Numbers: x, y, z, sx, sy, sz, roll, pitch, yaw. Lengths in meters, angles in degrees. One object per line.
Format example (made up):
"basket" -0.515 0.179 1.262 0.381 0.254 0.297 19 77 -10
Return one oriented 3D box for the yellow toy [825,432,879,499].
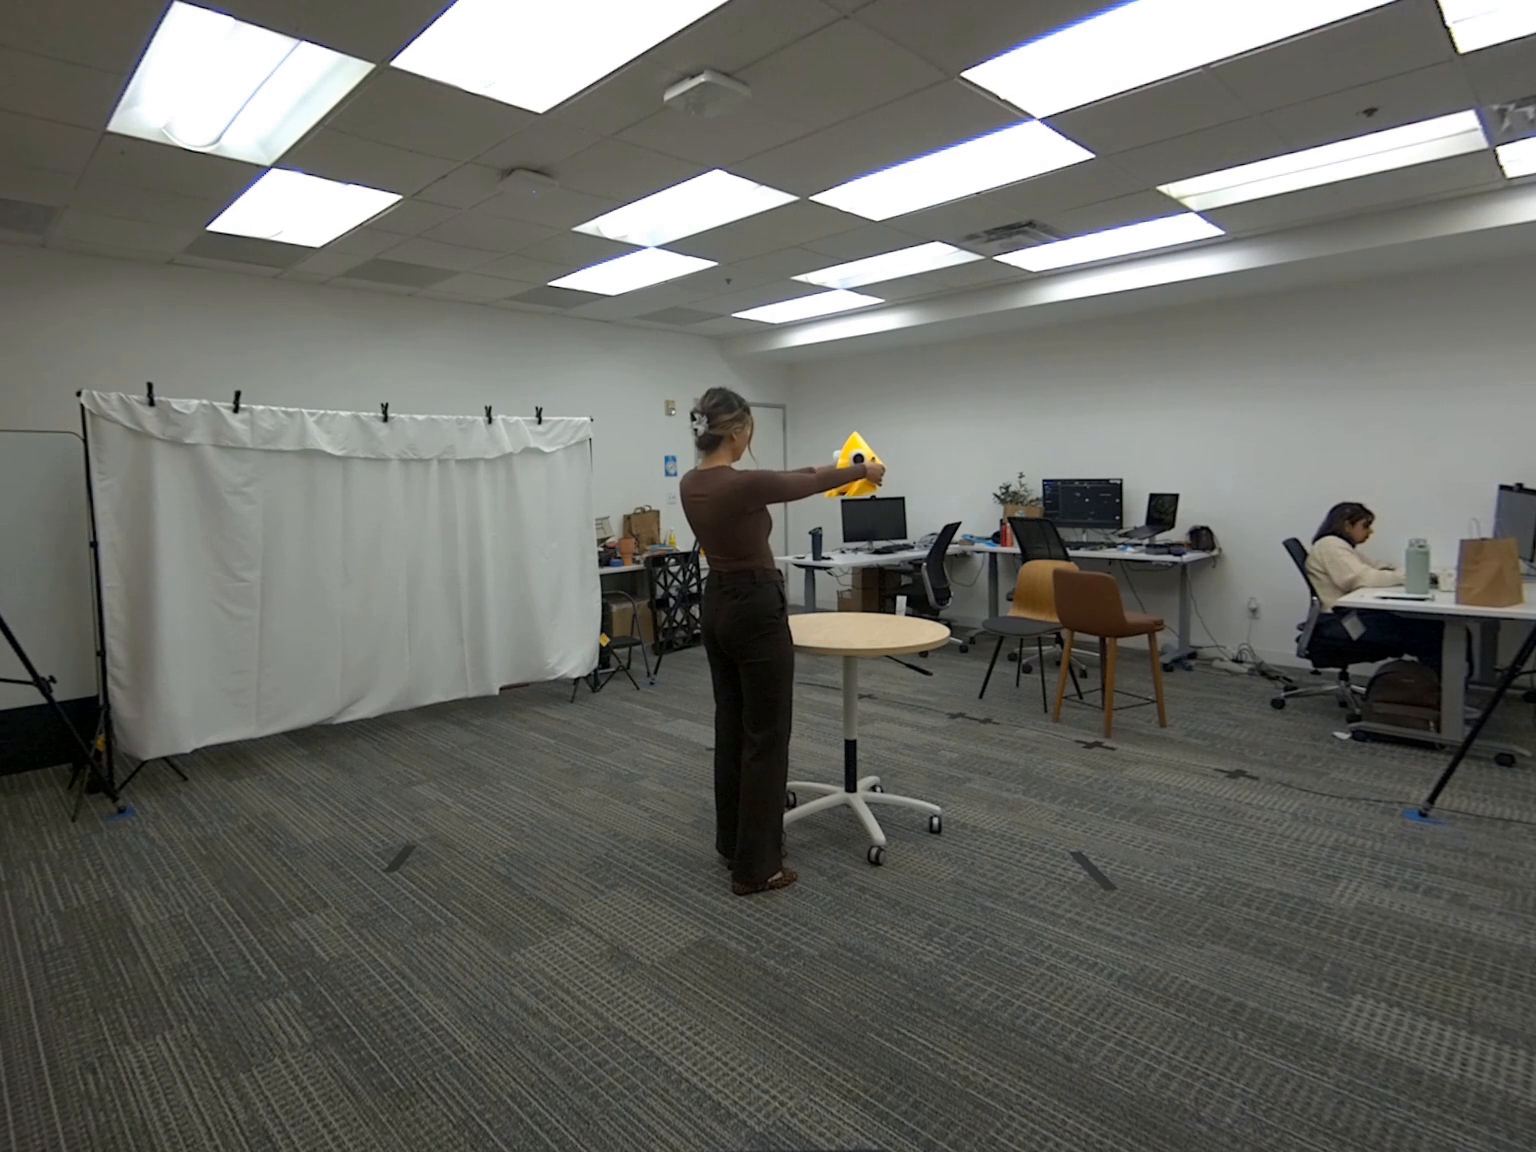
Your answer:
"yellow toy" 0.315 -0.428 3.289 0.189 0.228 0.211 -17 13 -37
